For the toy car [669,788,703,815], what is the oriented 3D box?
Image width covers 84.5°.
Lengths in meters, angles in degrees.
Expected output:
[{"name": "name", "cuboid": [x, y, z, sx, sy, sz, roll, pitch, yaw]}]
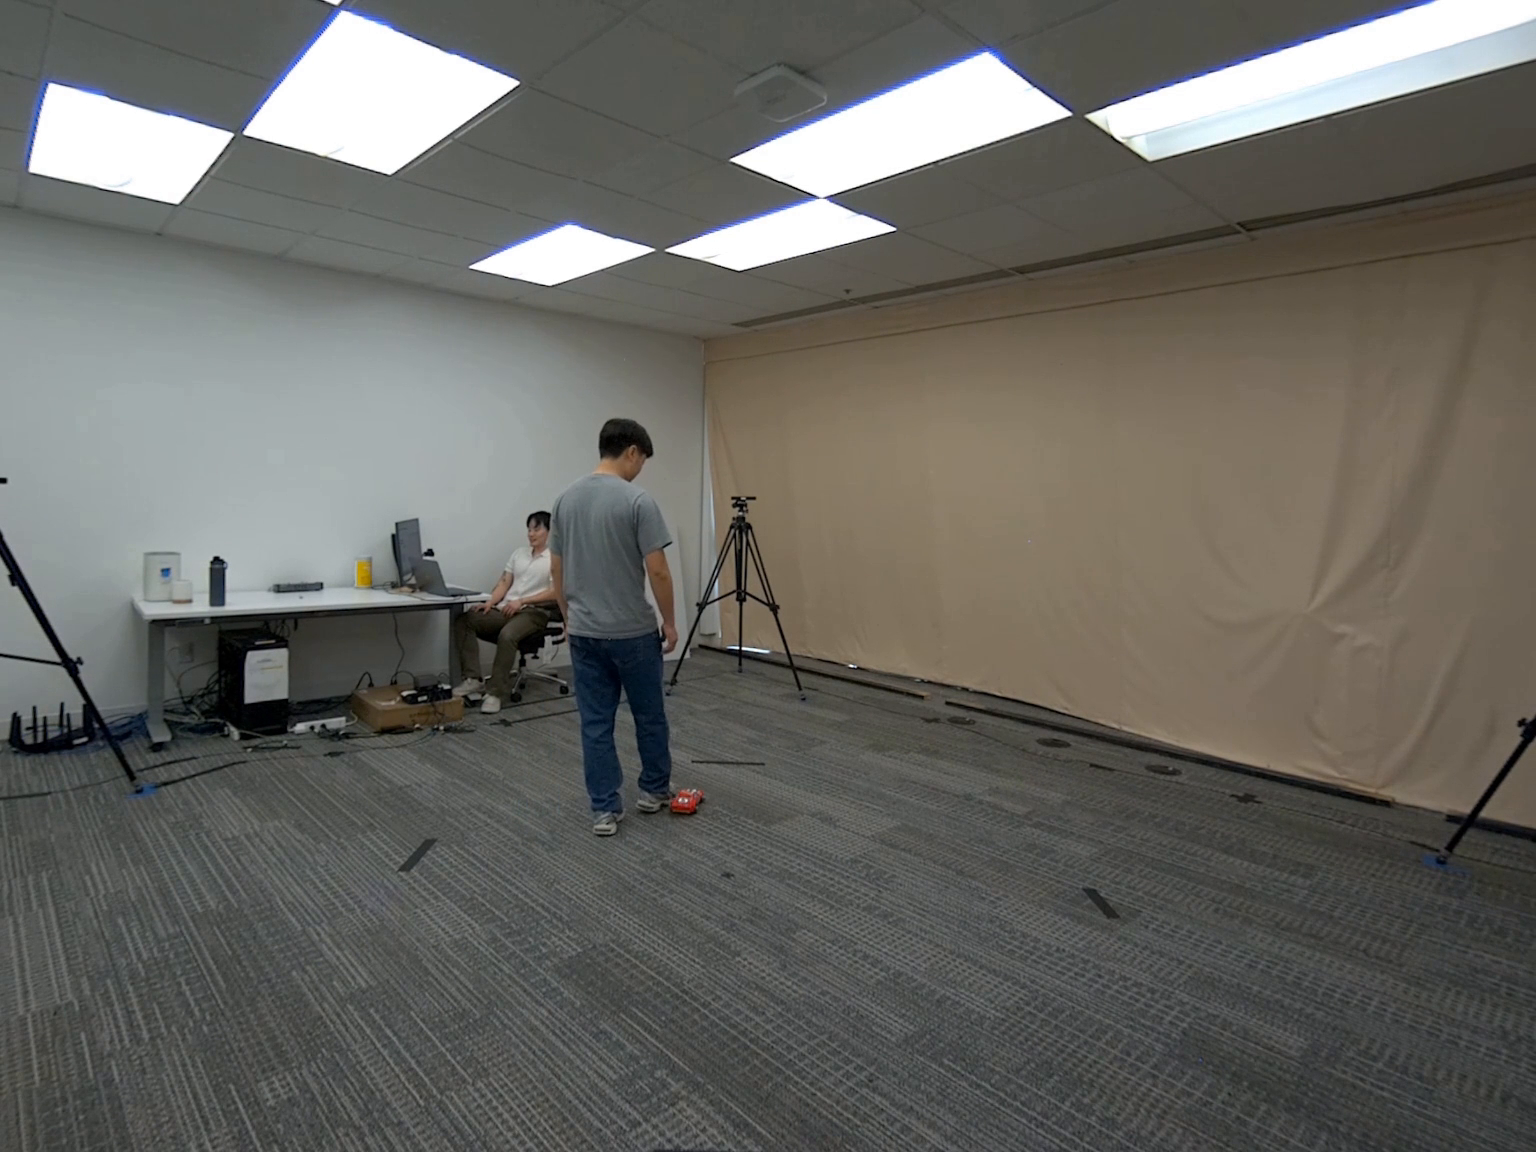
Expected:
[{"name": "toy car", "cuboid": [-0.371, 1.012, 3.769, 0.131, 0.083, 0.251, 3, -5, 11]}]
